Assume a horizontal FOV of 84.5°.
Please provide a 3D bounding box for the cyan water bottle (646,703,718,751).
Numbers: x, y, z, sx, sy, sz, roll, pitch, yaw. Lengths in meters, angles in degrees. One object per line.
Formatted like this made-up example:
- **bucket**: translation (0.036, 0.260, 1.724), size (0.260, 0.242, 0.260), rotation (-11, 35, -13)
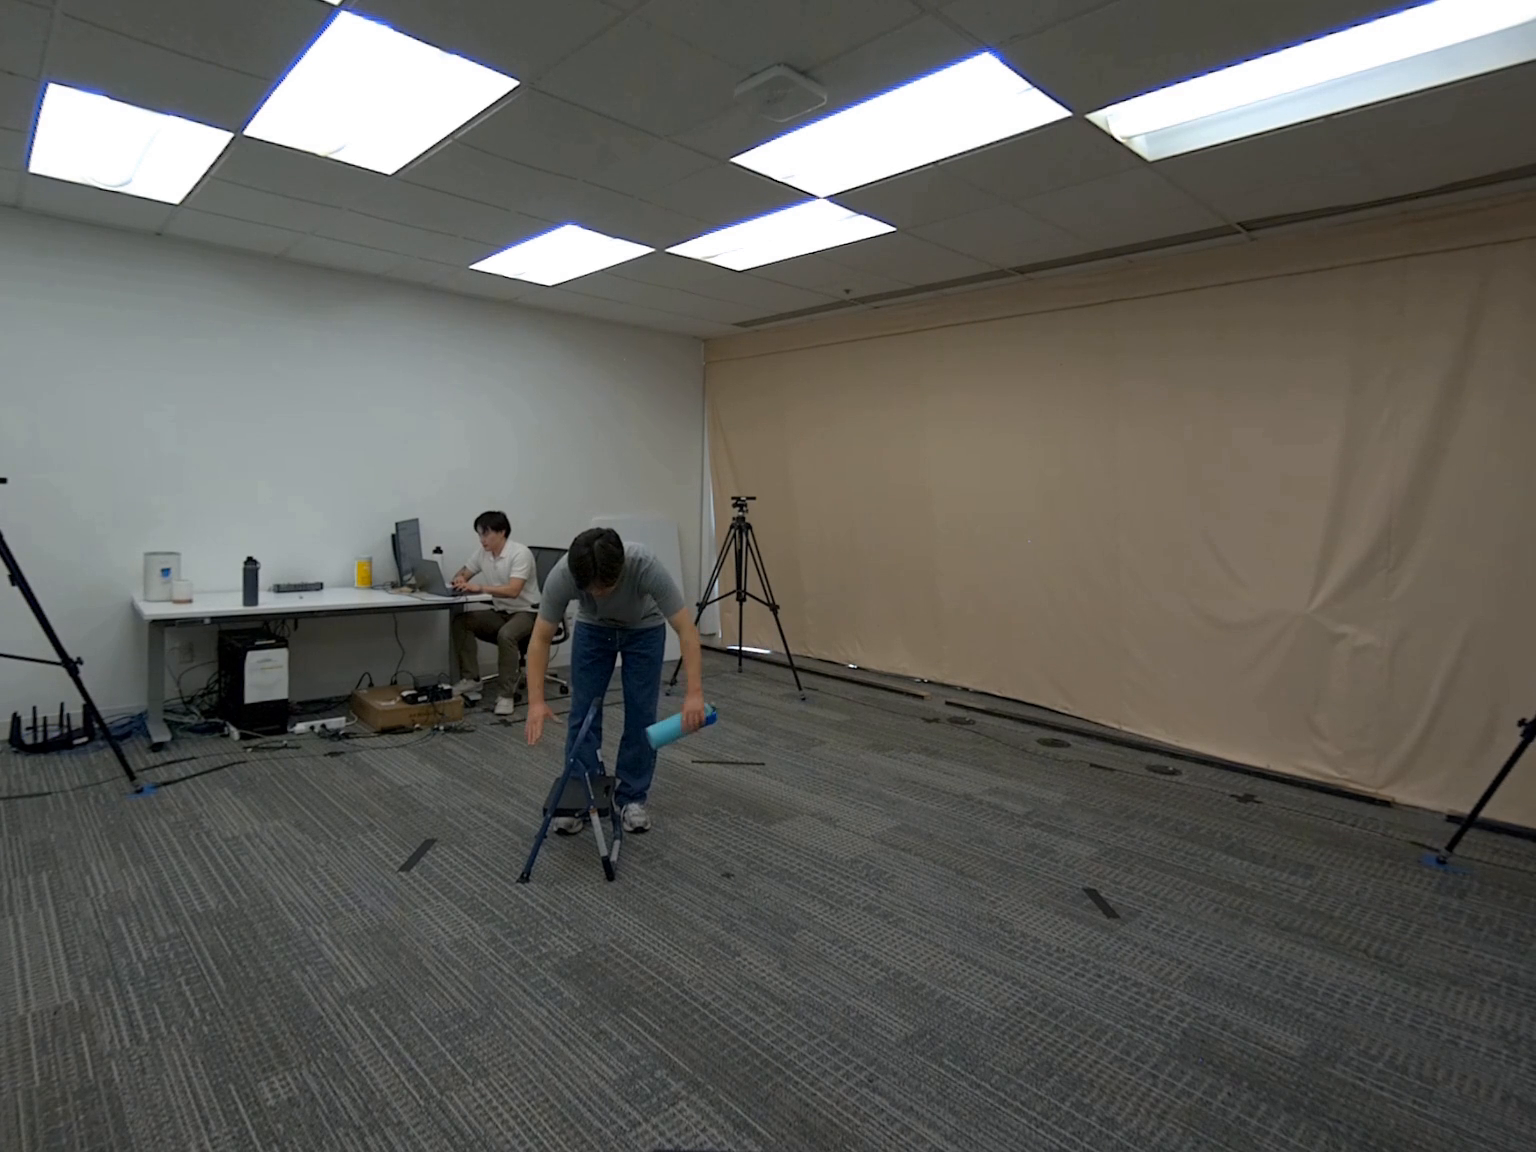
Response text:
- **cyan water bottle**: translation (-0.332, 0.554, 3.217), size (0.281, 0.091, 0.094), rotation (-21, 11, -17)
